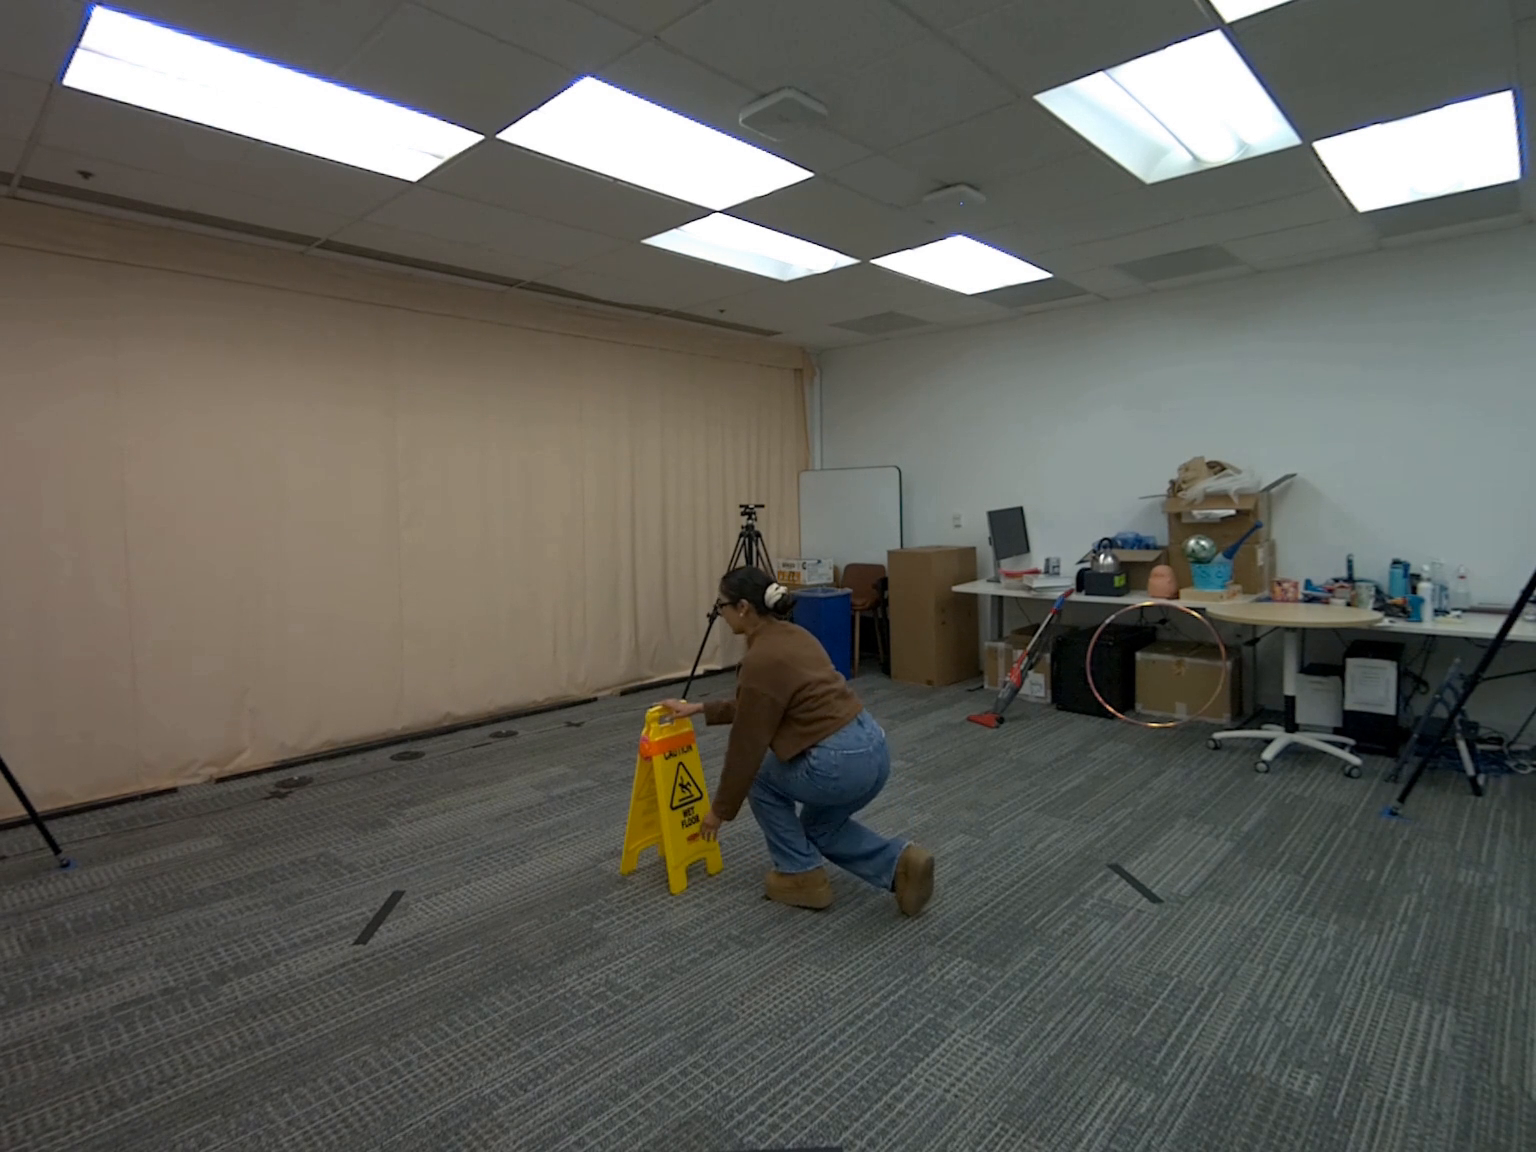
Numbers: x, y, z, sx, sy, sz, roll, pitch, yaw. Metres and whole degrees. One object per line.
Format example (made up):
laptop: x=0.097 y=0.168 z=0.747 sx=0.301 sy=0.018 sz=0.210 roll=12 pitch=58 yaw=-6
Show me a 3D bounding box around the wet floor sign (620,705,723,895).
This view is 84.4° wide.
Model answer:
wet floor sign: x=-0.371 y=0.805 z=3.193 sx=0.299 sy=0.644 sz=0.274 roll=2 pitch=5 yaw=40
